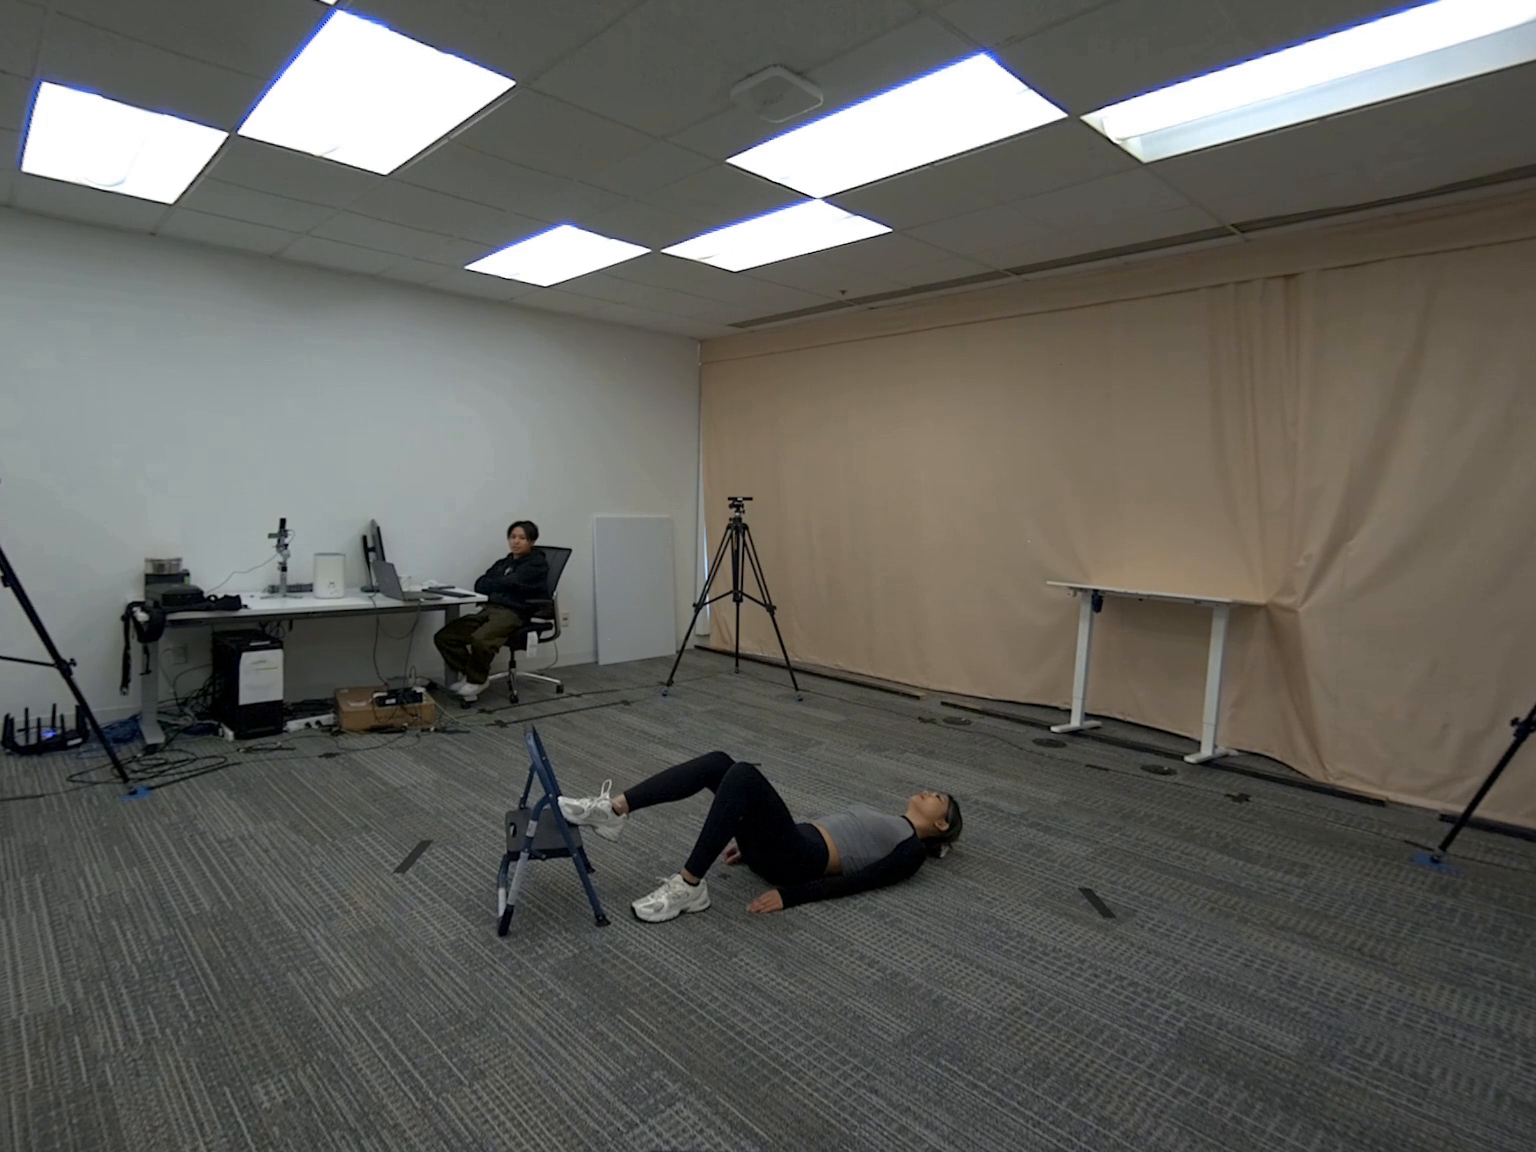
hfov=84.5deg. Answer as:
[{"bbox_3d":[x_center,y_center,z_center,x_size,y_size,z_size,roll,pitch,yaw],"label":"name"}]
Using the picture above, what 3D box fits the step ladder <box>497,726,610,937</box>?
[{"bbox_3d":[-0.745,0.817,2.861,0.344,0.604,0.438,1,4,-19],"label":"step ladder"}]
